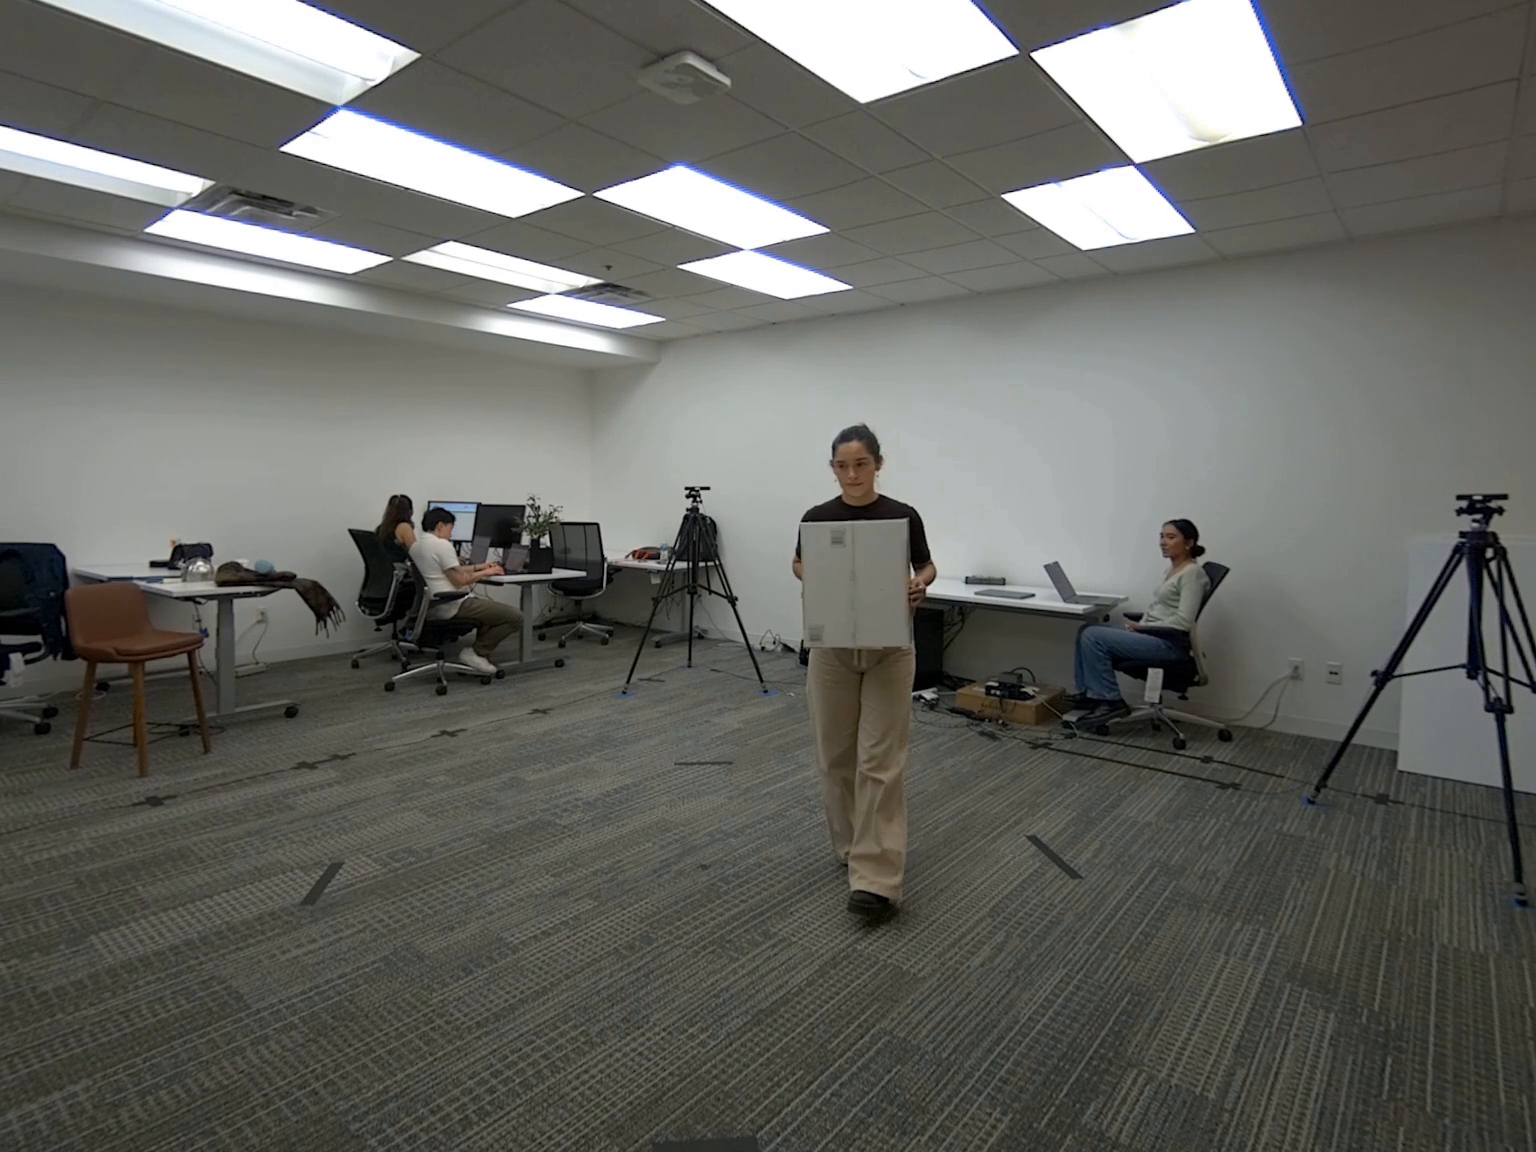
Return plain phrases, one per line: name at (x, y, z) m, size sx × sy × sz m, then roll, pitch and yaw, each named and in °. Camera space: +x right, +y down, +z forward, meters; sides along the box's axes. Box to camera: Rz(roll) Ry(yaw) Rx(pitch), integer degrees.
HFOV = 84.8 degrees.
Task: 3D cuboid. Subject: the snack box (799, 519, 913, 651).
snack box at (0.286, 0.013, 2.786) m, size 0.345 × 0.404 × 0.203 m, roll -1°, pitch 2°, yaw 14°
